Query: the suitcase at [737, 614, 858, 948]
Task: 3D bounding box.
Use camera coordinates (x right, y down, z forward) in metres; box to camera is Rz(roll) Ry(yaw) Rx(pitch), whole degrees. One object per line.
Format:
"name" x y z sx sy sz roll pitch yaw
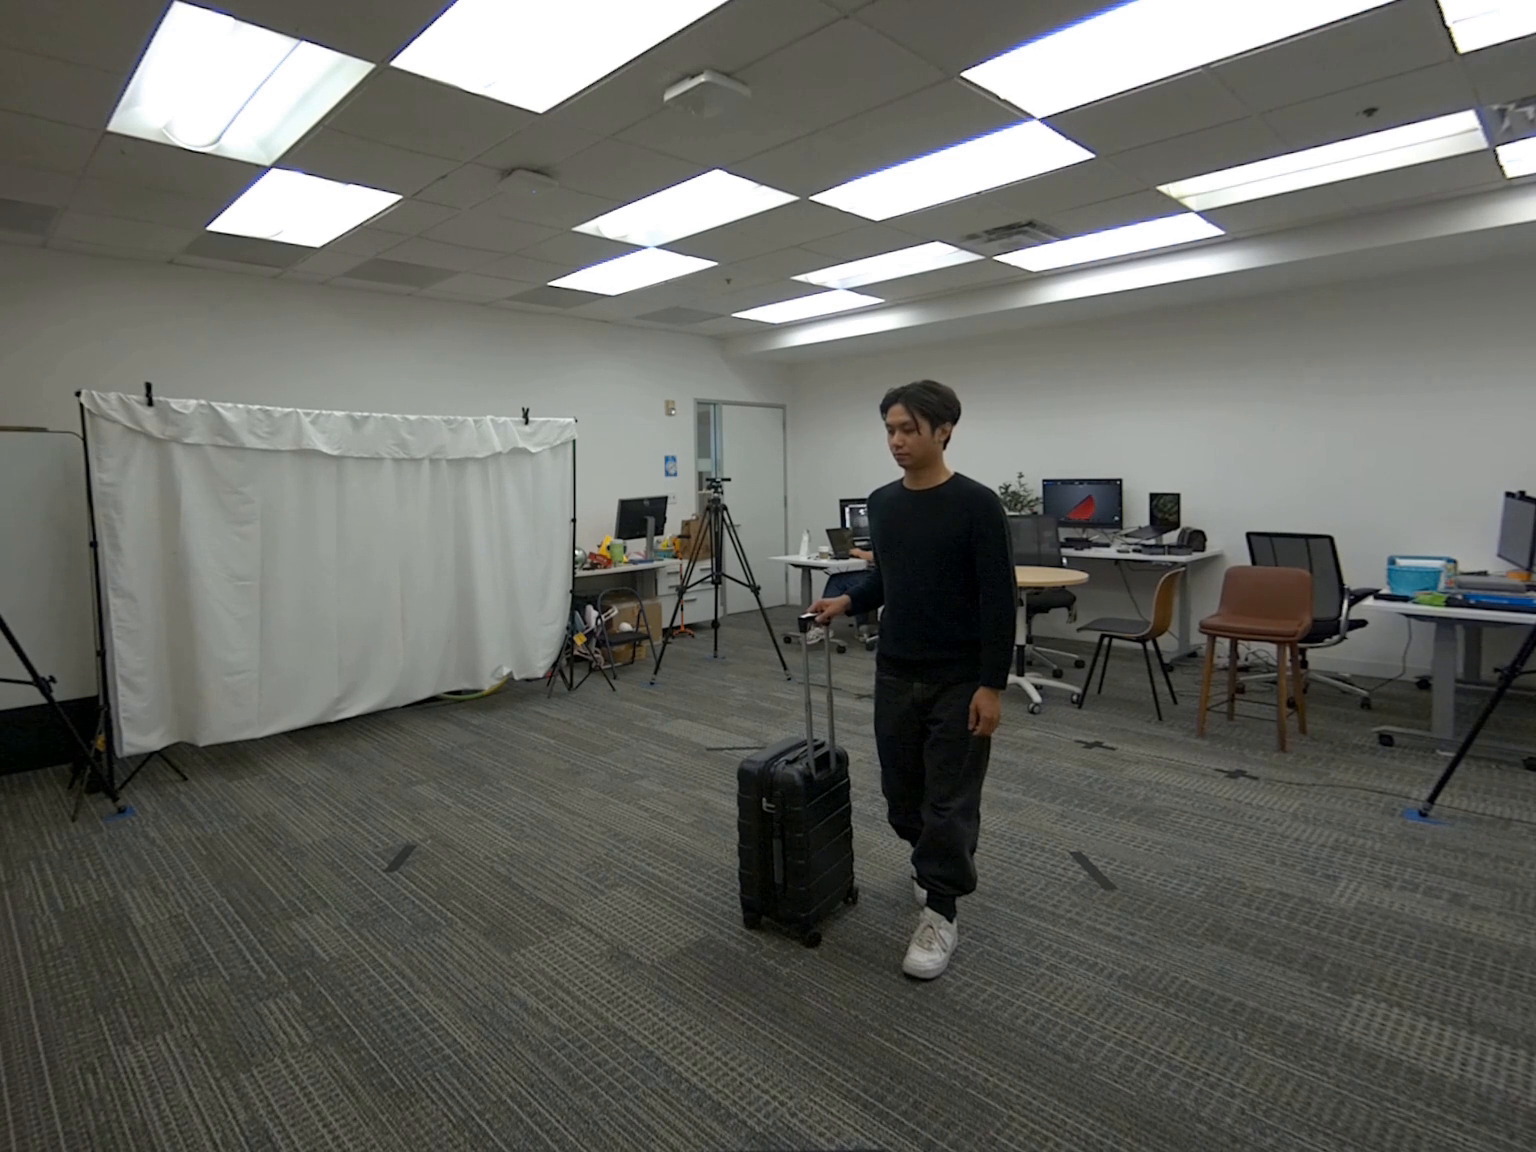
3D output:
"suitcase" 0.079 0.611 2.698 0.264 0.975 0.375 -2 5 33
